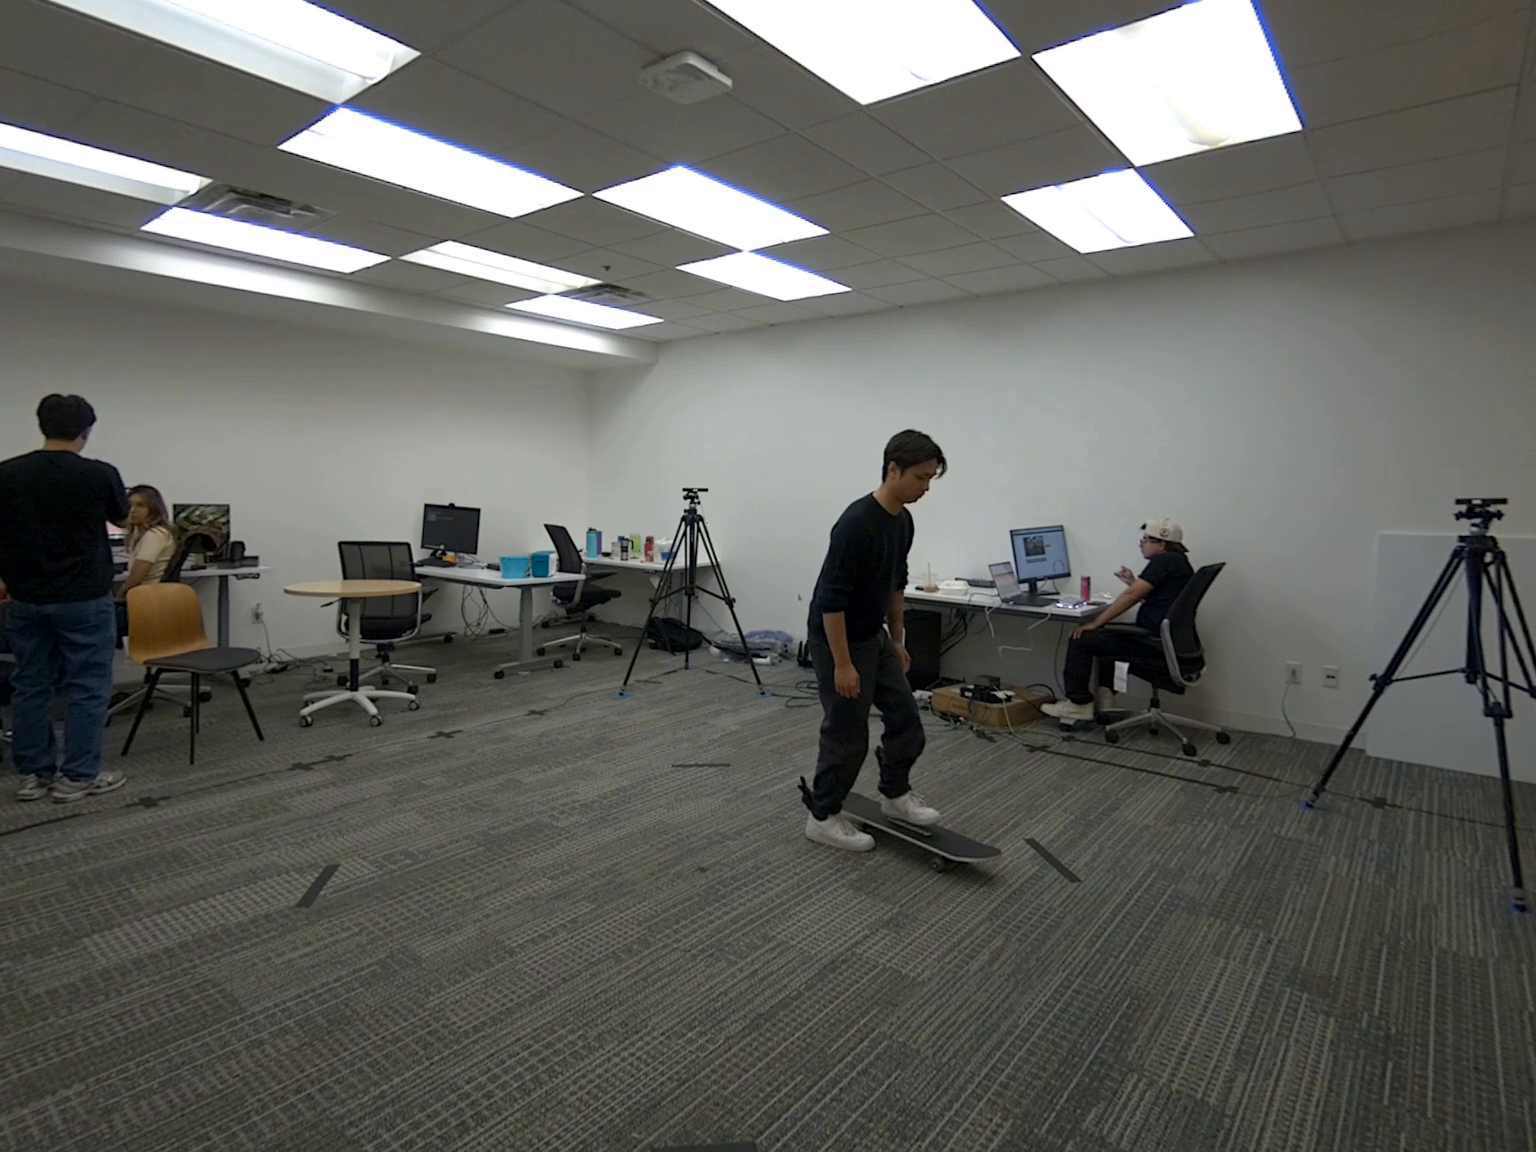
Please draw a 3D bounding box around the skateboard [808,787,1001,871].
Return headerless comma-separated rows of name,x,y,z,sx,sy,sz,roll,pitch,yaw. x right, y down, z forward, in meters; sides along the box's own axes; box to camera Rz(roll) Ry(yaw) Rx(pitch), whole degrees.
skateboard,0.544,1.005,3.344,0.188,0.110,0.813,-3,8,-41
